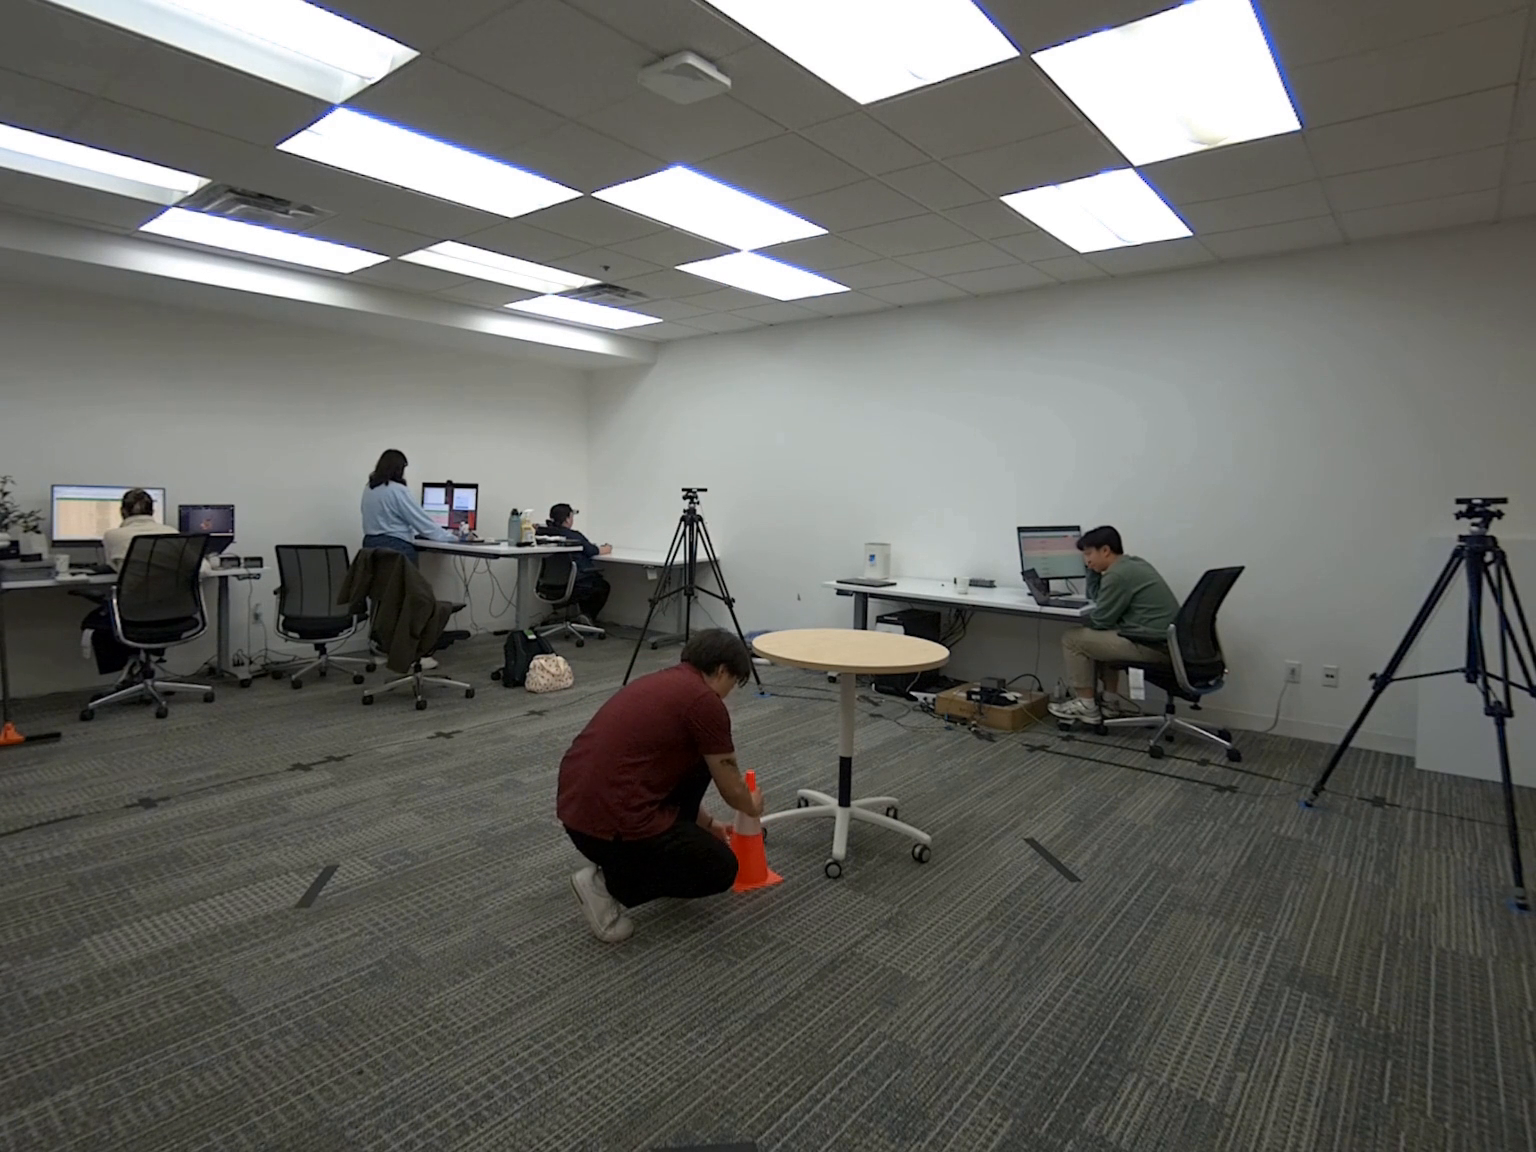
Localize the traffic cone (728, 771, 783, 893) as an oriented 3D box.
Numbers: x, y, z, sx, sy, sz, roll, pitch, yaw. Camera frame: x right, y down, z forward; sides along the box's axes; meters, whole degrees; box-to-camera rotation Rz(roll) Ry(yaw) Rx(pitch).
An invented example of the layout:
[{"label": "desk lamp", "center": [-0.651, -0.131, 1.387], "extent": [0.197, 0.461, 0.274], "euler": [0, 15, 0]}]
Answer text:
[{"label": "traffic cone", "center": [-0.088, 0.898, 3.051], "extent": [0.199, 0.382, 0.210], "euler": [-1, 5, -23]}]
